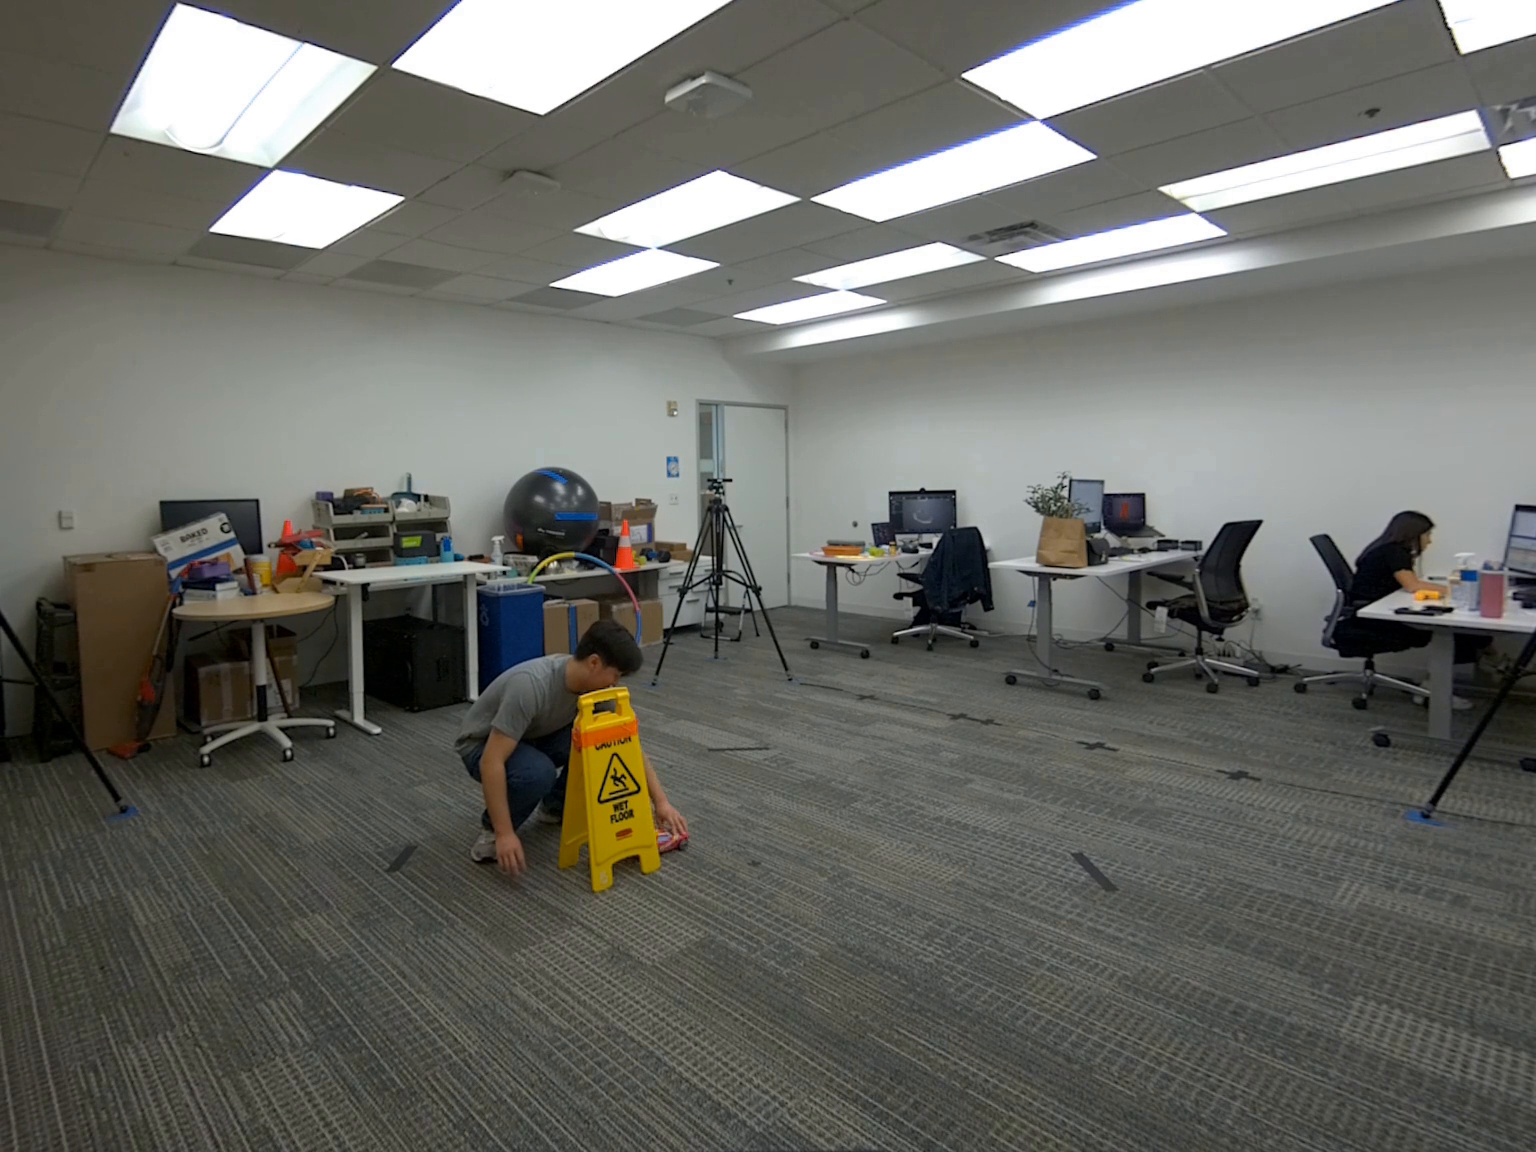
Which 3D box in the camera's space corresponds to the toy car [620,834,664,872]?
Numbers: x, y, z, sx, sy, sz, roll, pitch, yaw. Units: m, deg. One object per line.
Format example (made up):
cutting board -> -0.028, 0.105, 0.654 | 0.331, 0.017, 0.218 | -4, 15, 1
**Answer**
toy car -> -0.424, 1.005, 3.215 | 0.247, 0.083, 0.134 | 10, 2, -35
